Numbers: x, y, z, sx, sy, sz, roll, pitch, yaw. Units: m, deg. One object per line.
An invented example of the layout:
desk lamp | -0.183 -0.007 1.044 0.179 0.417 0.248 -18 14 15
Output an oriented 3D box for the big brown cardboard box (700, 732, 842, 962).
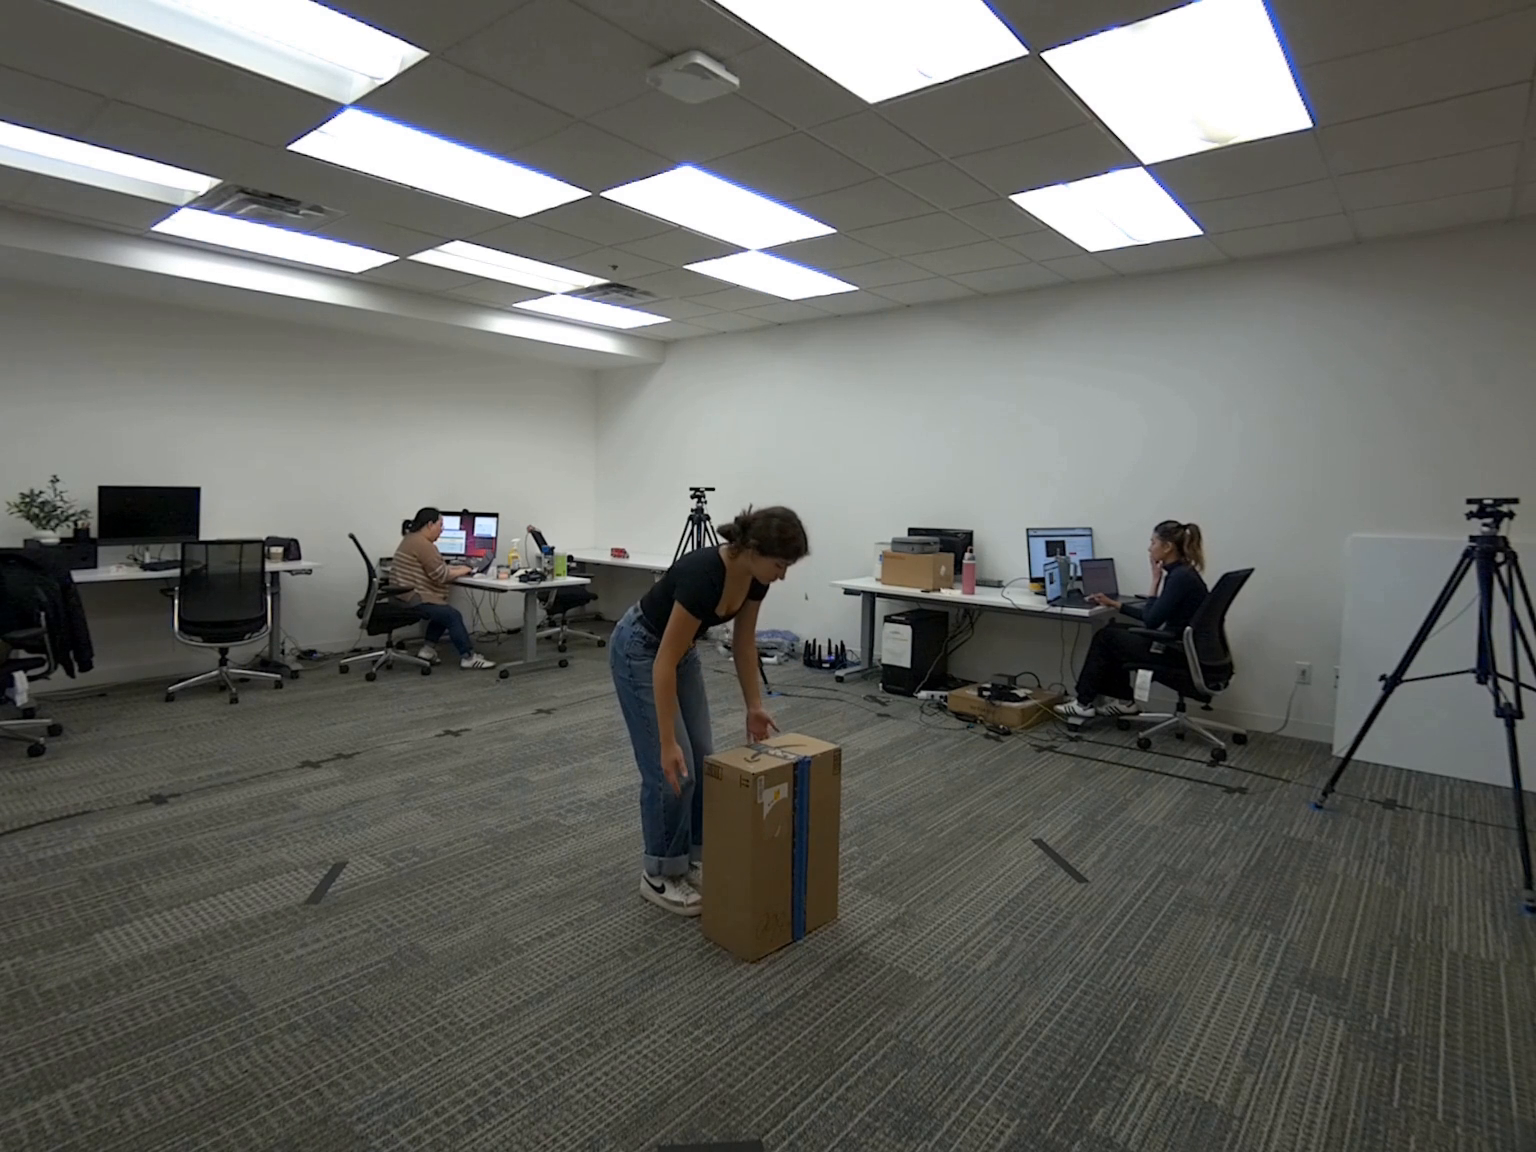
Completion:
big brown cardboard box | 0.008 0.821 2.684 0.241 0.586 0.405 5 6 44
